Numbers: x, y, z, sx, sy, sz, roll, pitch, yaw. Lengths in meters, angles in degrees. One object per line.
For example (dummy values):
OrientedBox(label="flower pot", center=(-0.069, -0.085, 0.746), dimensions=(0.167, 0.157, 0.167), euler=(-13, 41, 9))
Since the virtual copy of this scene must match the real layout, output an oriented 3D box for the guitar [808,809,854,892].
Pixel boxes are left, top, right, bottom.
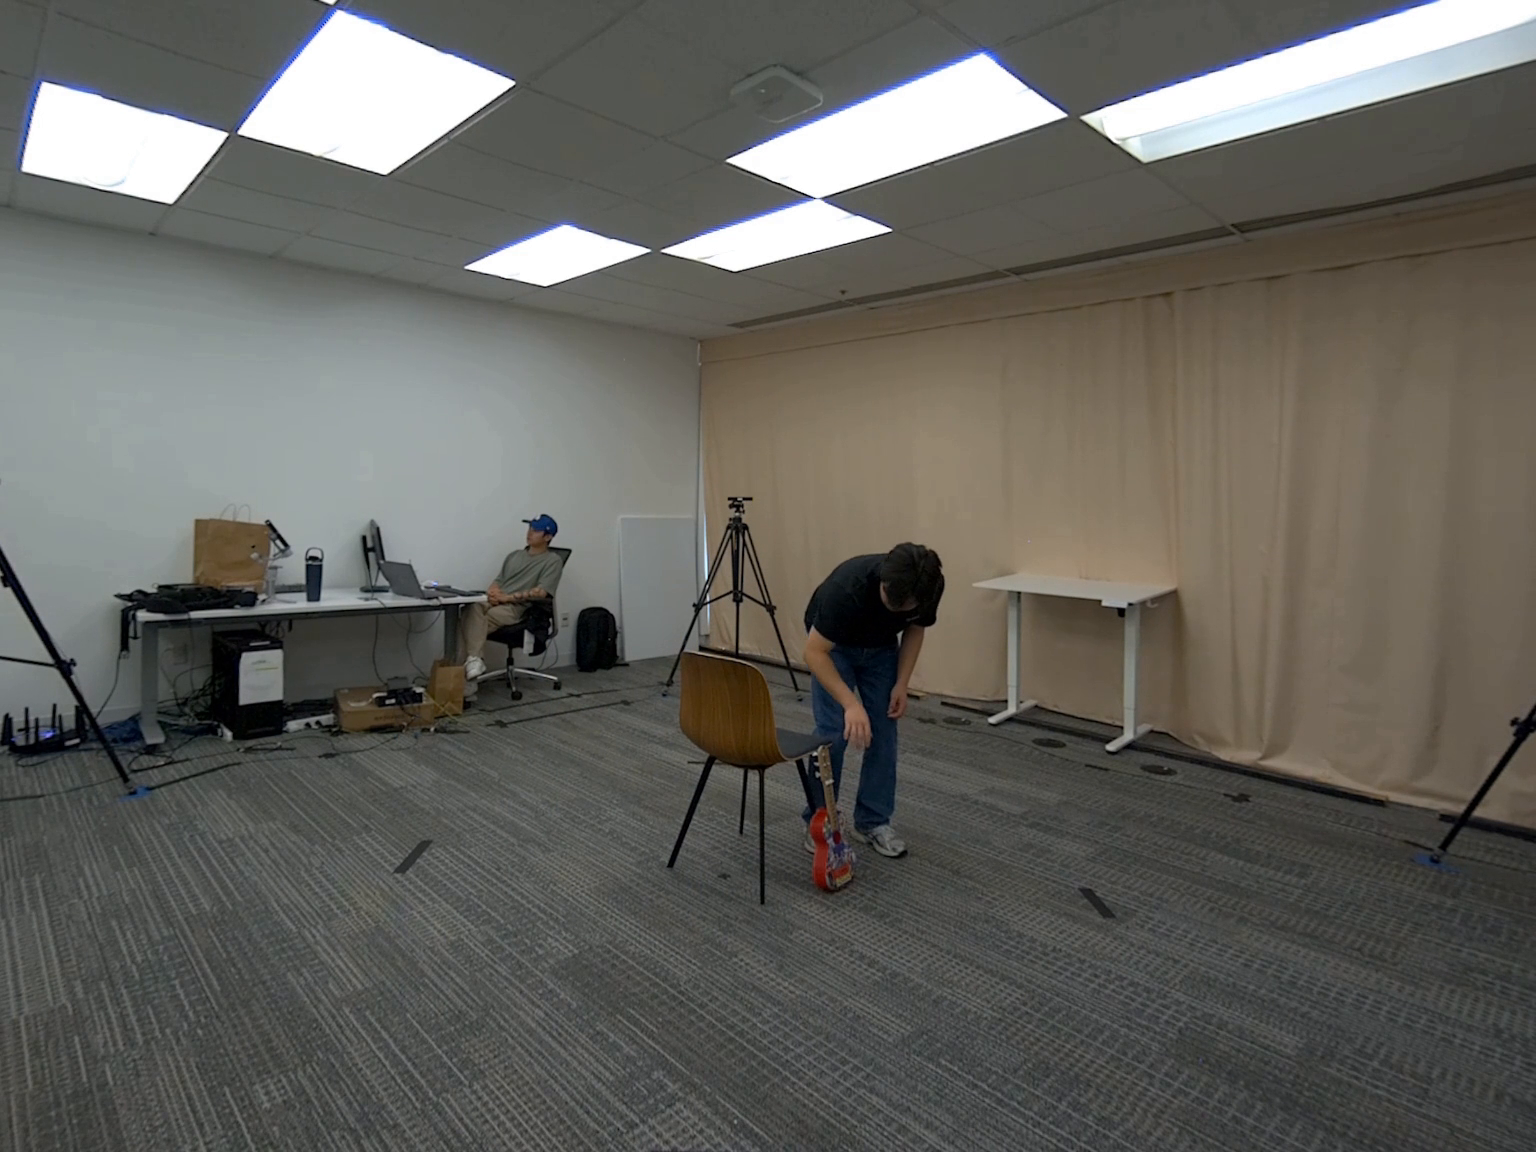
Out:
OrientedBox(label="guitar", center=(0.224, 0.872, 3.064), dimensions=(0.072, 0.502, 0.188), euler=(-13, -13, 42))
